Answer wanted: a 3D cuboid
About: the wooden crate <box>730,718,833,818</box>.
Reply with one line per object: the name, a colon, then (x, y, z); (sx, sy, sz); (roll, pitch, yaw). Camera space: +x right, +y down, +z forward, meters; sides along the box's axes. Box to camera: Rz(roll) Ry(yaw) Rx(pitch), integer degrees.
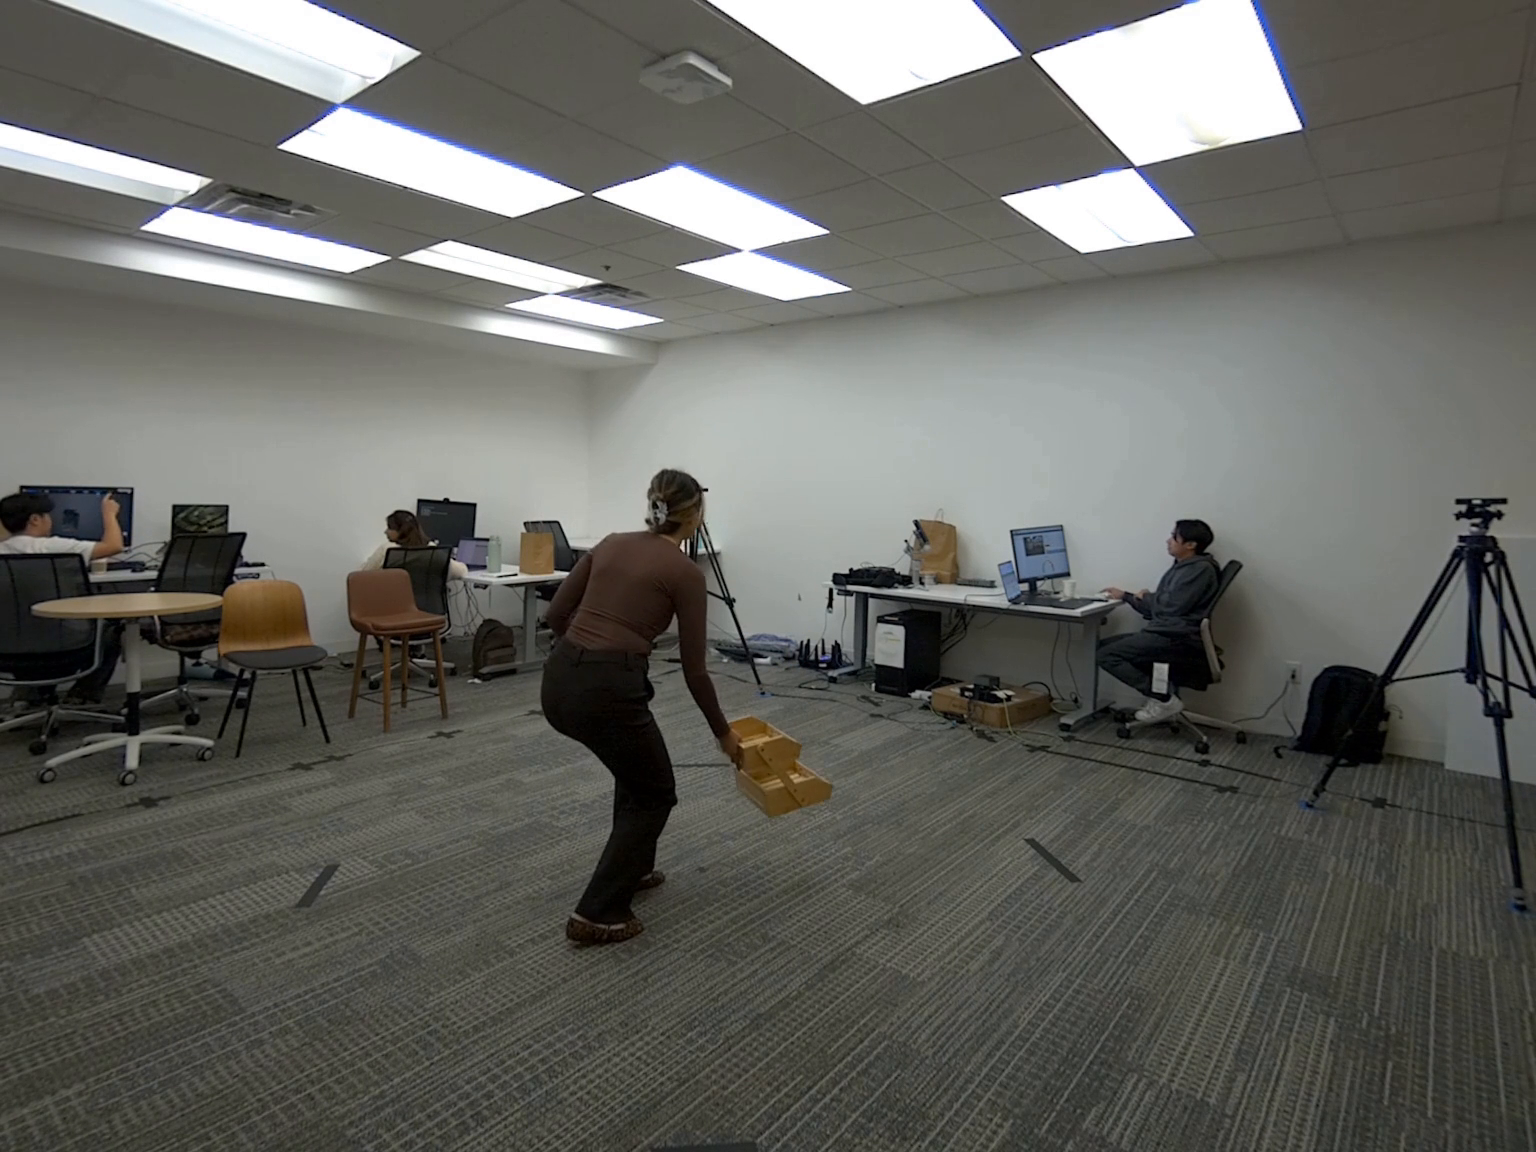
wooden crate: (0.003, 0.646, 3.002); (0.297, 0.271, 0.332); (-12, 8, -21)
